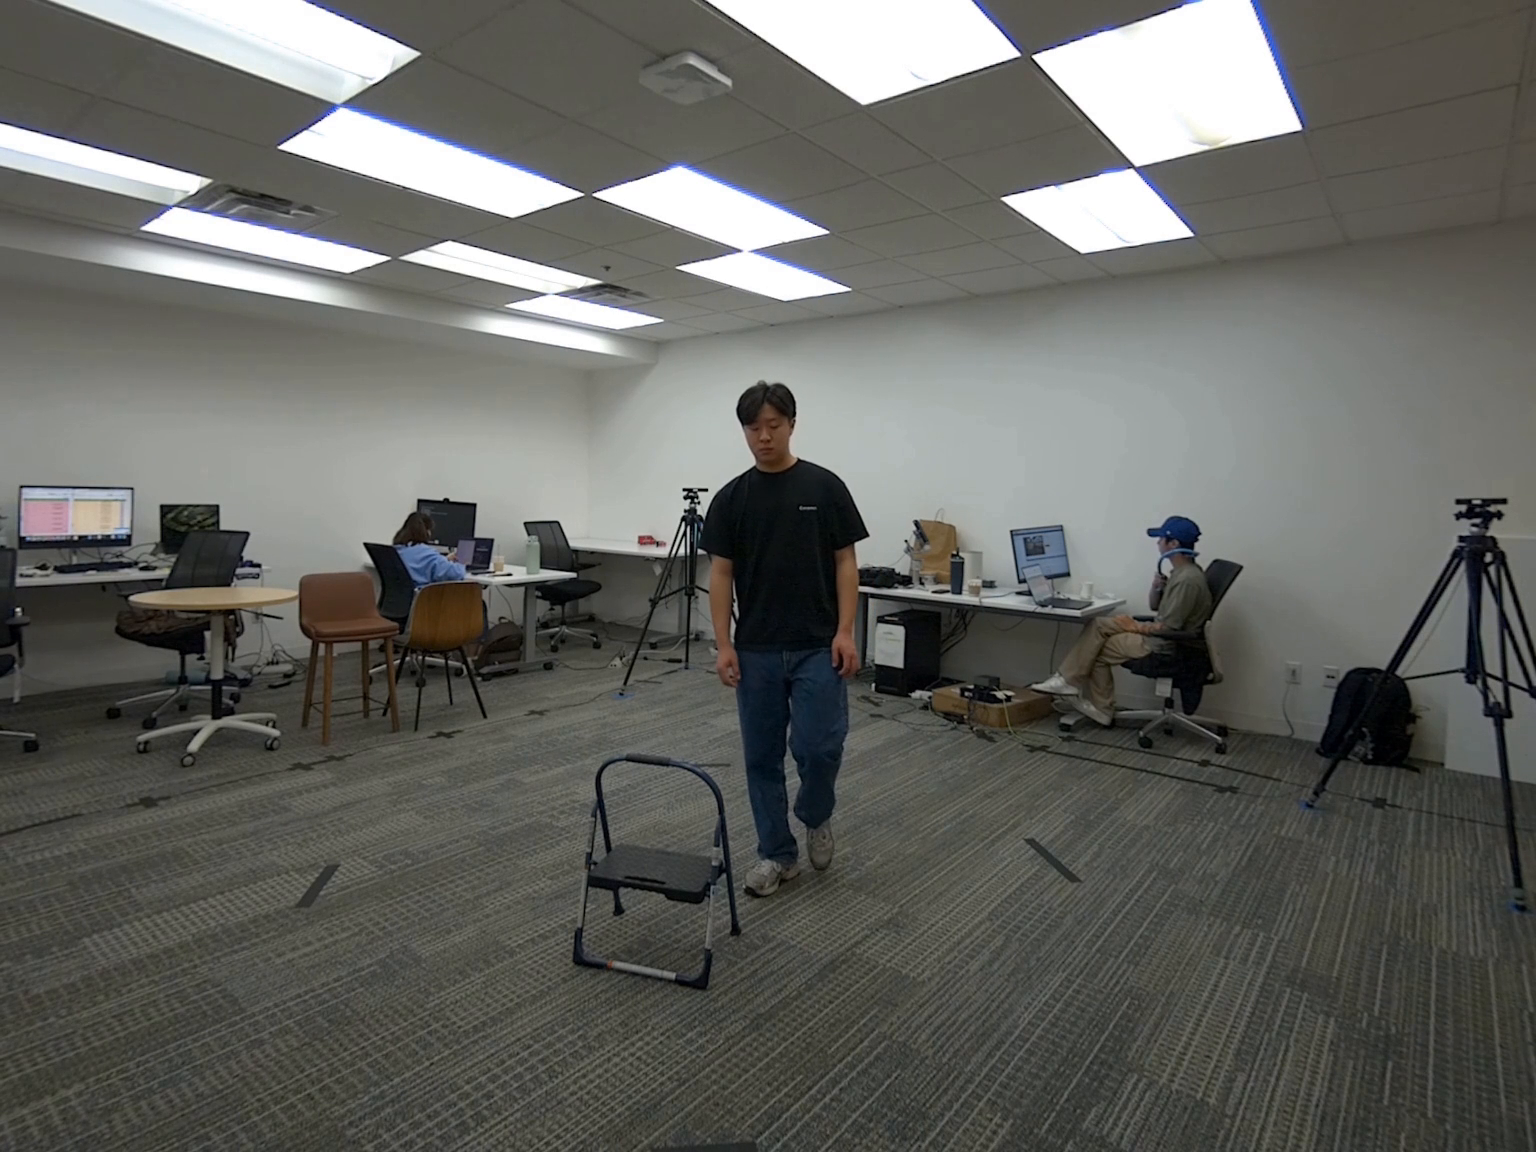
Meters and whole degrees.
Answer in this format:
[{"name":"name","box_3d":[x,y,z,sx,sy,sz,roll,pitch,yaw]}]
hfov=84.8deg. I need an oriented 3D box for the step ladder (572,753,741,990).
[{"name":"step ladder","box_3d":[-0.335,0.819,2.555,0.438,0.604,0.344,2,3,15]}]
